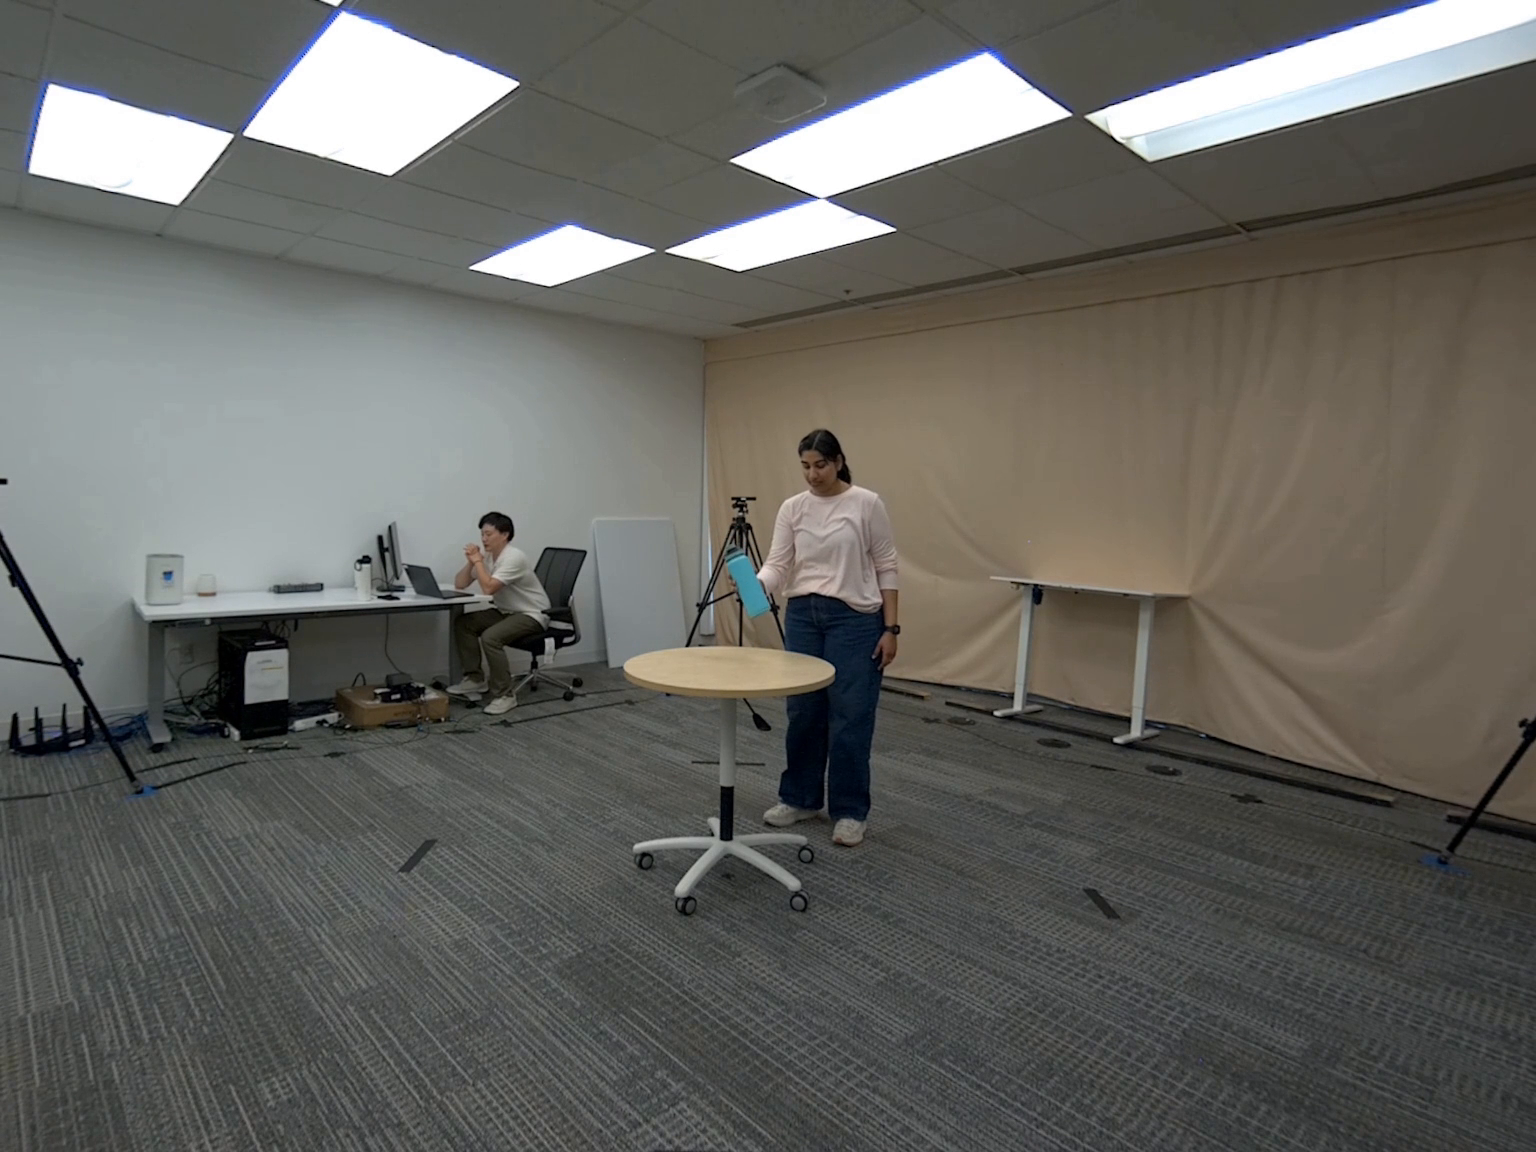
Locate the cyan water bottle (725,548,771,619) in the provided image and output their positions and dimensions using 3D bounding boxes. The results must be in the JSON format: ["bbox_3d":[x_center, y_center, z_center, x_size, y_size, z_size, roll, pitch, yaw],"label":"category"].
[{"bbox_3d":[-0.092,0.016,3.190,0.092,0.286,0.091,-21,-10,-5],"label":"cyan water bottle"}]
